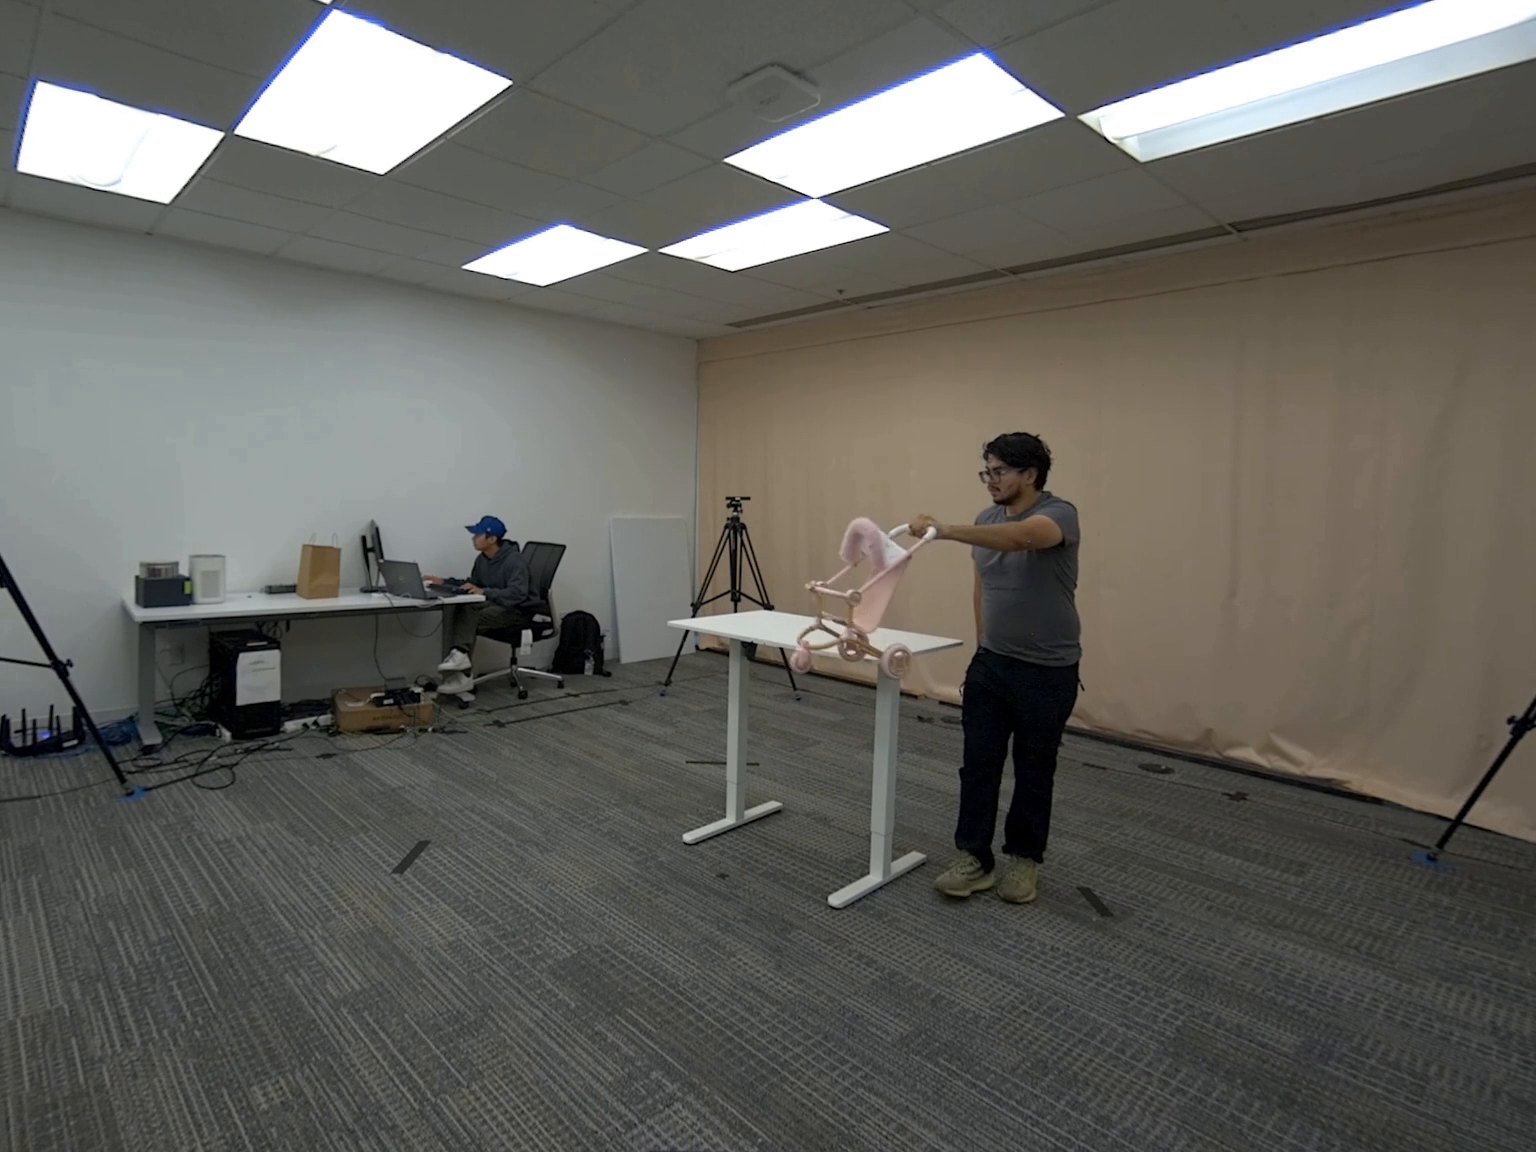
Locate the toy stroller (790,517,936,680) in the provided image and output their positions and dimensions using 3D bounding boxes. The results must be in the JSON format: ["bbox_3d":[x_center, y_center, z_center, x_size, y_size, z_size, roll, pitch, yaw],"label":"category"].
[{"bbox_3d":[0.276,0.067,2.578,0.335,0.535,0.287,14,0,-21],"label":"toy stroller"}]
